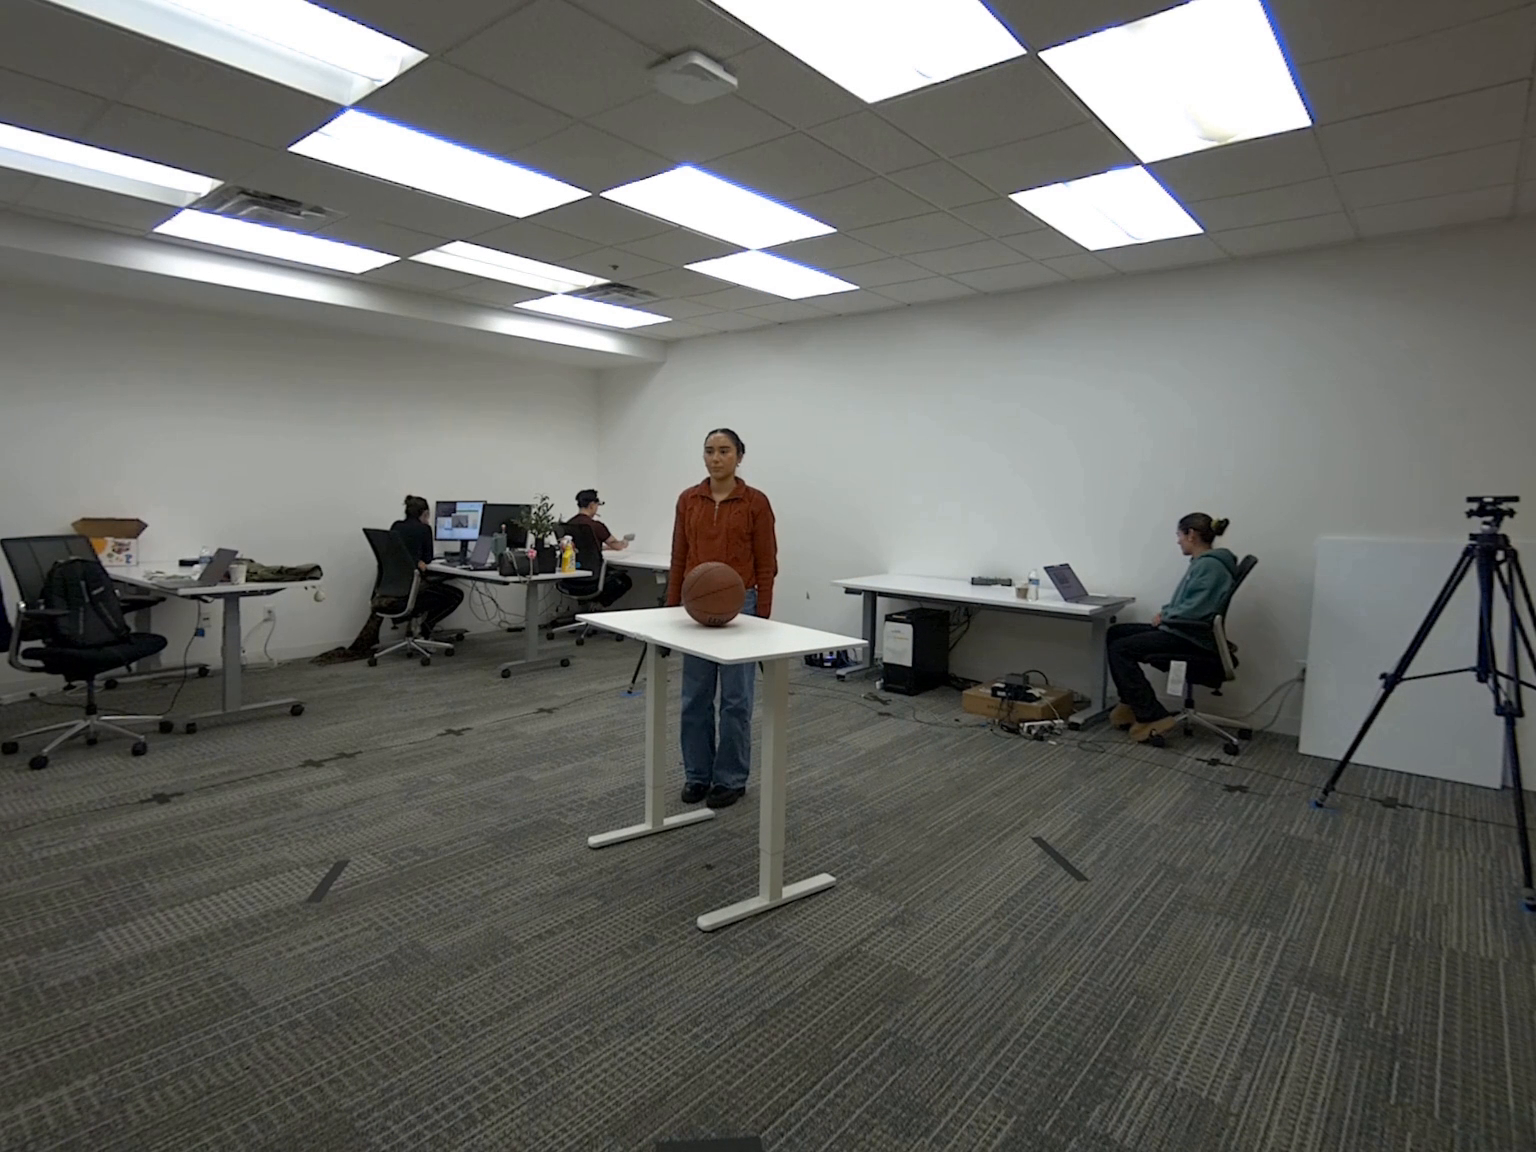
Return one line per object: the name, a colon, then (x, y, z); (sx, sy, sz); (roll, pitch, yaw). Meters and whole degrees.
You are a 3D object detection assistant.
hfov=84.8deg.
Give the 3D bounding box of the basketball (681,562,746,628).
basketball: (-0.209, 0.064, 3.141); (0.235, 0.235, 0.237); (1, 4, -2)
